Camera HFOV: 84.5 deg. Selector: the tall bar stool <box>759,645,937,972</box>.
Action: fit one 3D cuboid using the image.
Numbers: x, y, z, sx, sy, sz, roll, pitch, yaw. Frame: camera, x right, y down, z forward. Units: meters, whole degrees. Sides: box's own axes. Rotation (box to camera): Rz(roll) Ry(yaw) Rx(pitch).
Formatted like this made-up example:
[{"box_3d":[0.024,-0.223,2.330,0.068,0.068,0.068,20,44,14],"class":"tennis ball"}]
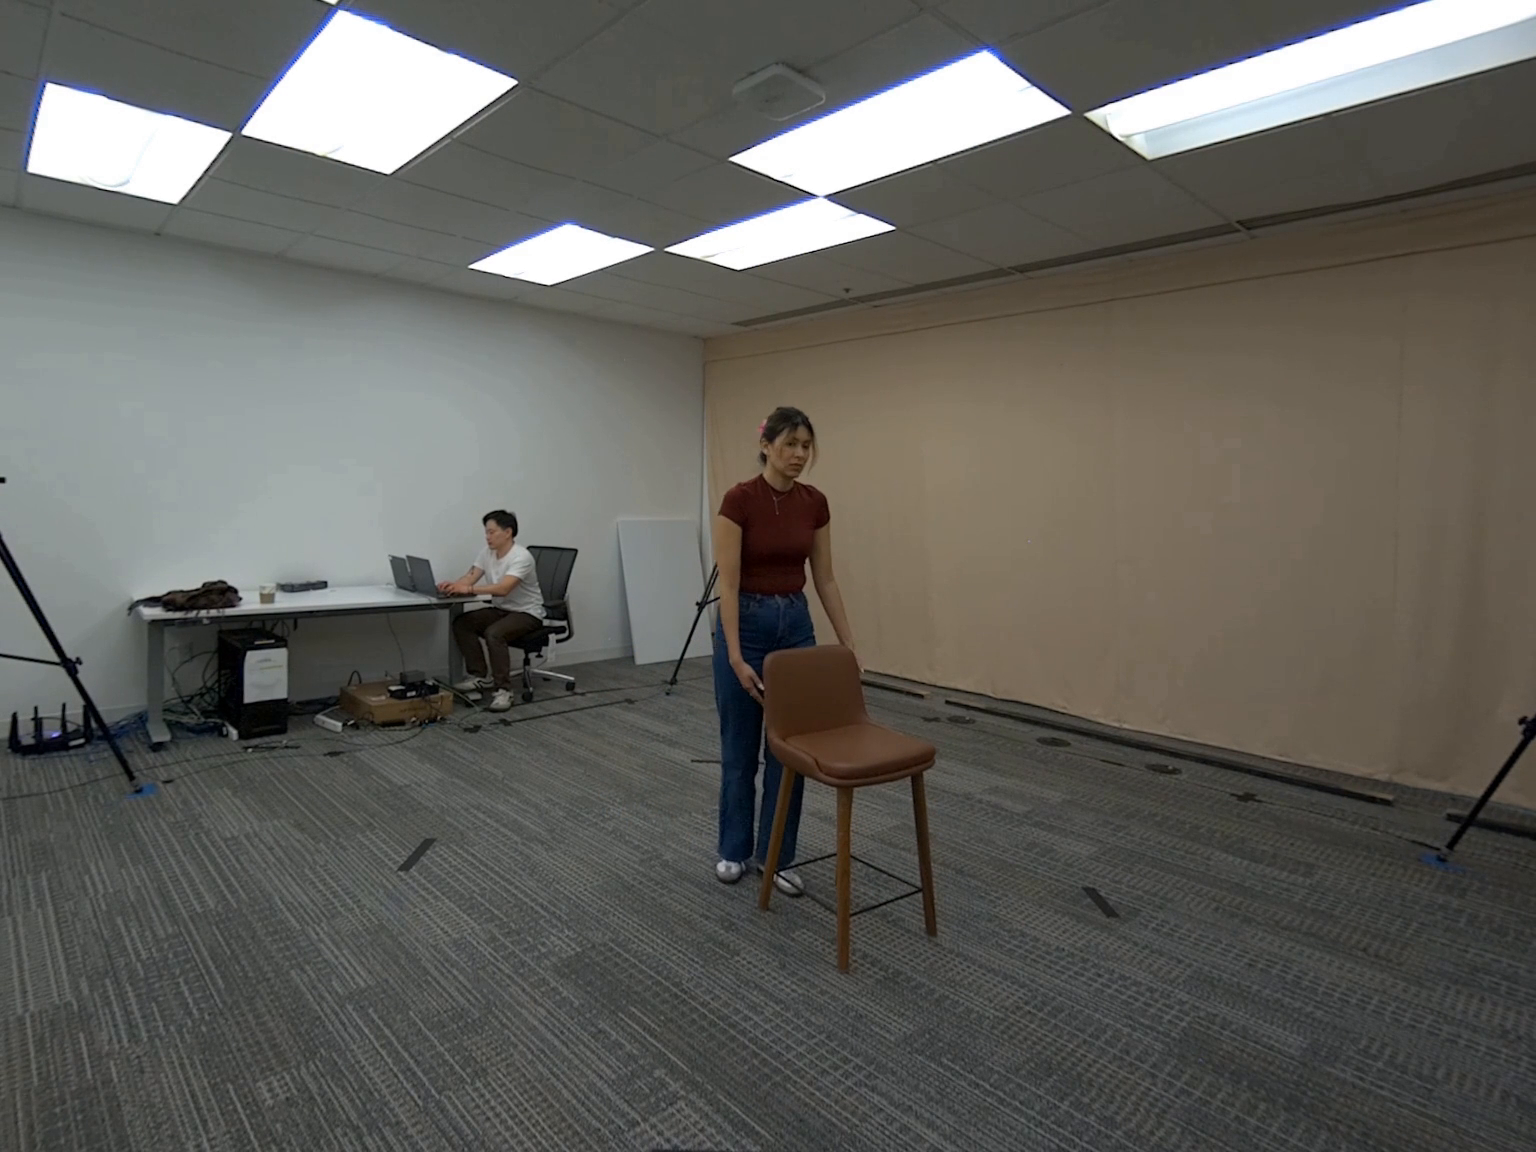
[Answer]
[{"box_3d":[0.252,0.708,2.746,0.446,0.889,0.478,-1,2,-35],"class":"tall bar stool"}]
